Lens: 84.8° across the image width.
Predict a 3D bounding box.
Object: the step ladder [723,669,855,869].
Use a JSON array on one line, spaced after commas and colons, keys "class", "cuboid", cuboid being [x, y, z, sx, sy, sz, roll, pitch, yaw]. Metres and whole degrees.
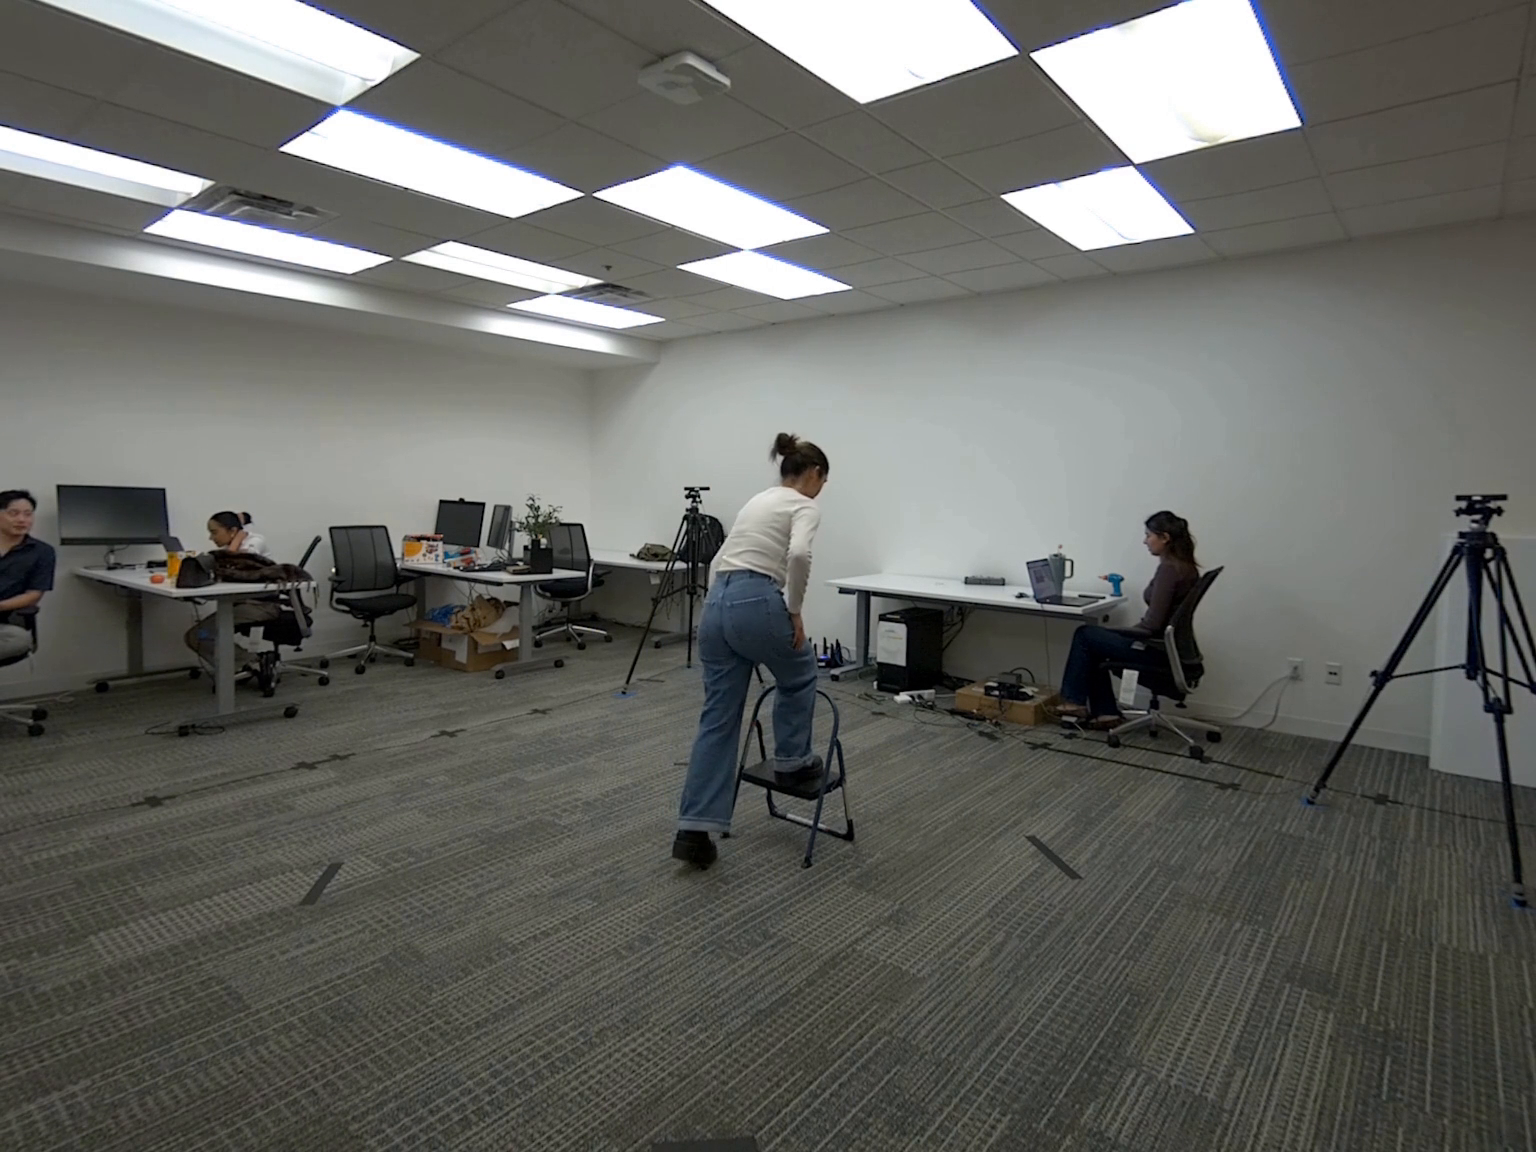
[{"class": "step ladder", "cuboid": [0.077, 0.741, 3.375, 0.445, 0.604, 0.339, 4, 5, 38]}]
